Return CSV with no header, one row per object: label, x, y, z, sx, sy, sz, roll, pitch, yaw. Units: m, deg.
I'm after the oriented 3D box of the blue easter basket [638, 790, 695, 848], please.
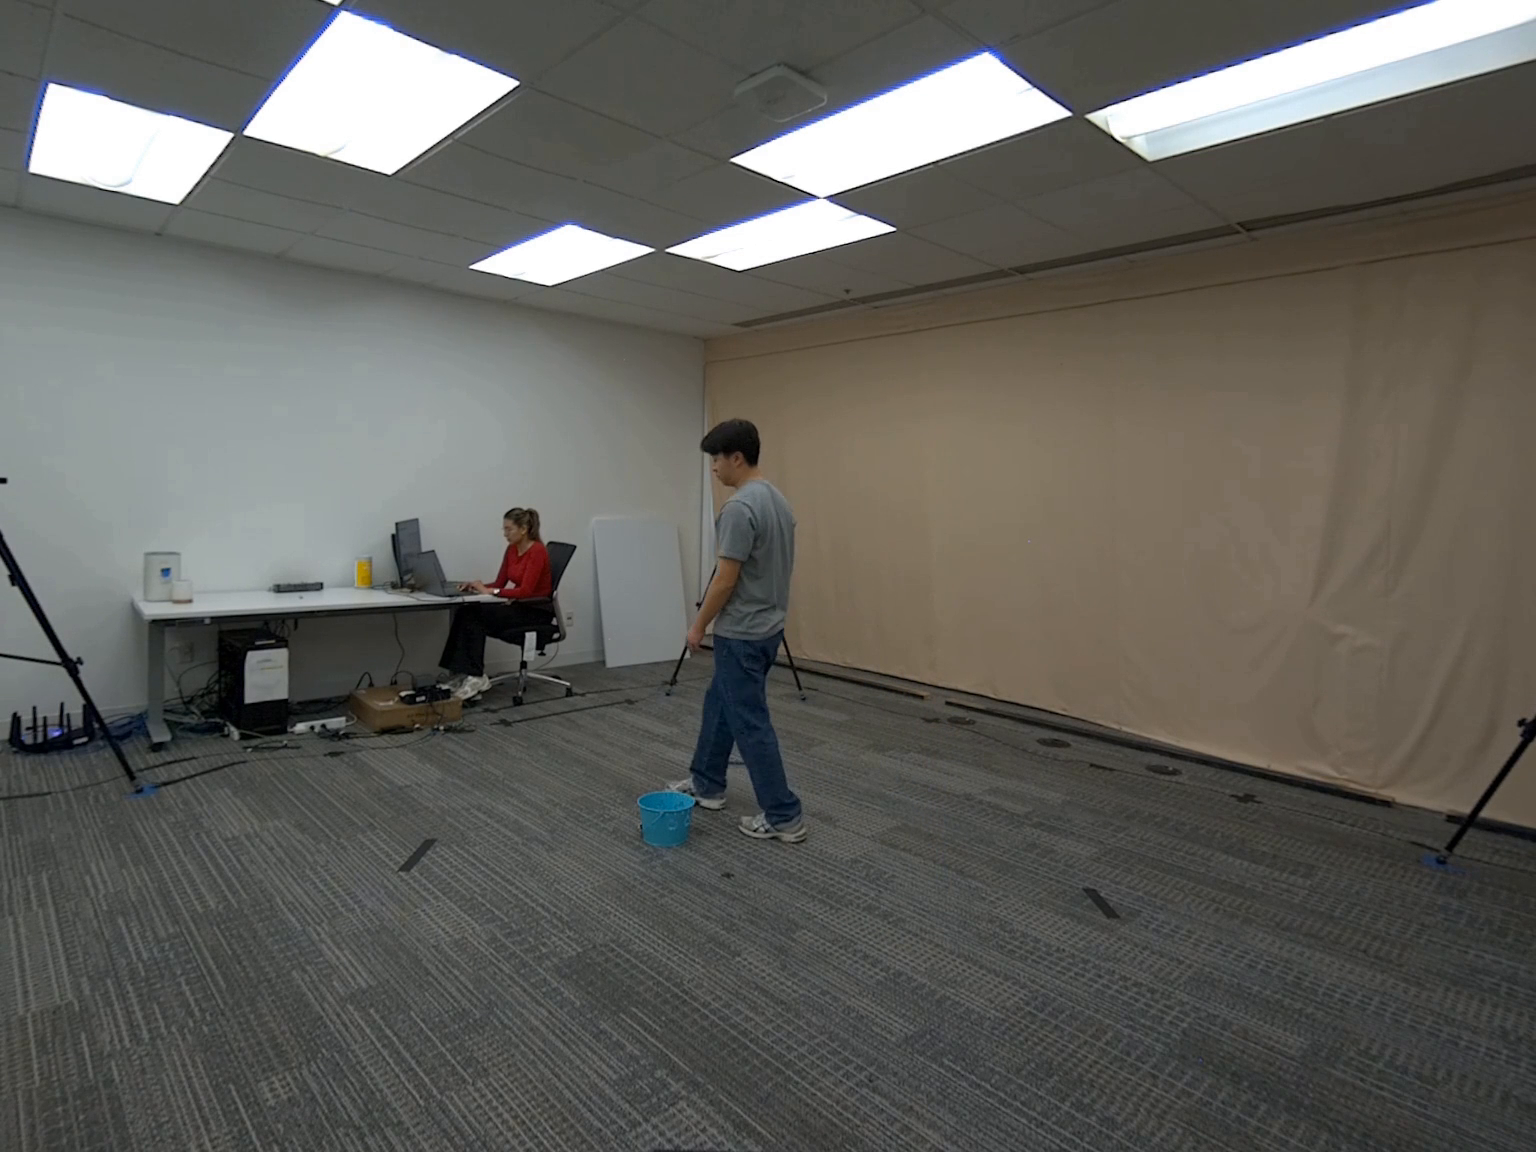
blue easter basket,-0.426,0.992,3.439,0.243,0.155,0.244,1,5,-1
